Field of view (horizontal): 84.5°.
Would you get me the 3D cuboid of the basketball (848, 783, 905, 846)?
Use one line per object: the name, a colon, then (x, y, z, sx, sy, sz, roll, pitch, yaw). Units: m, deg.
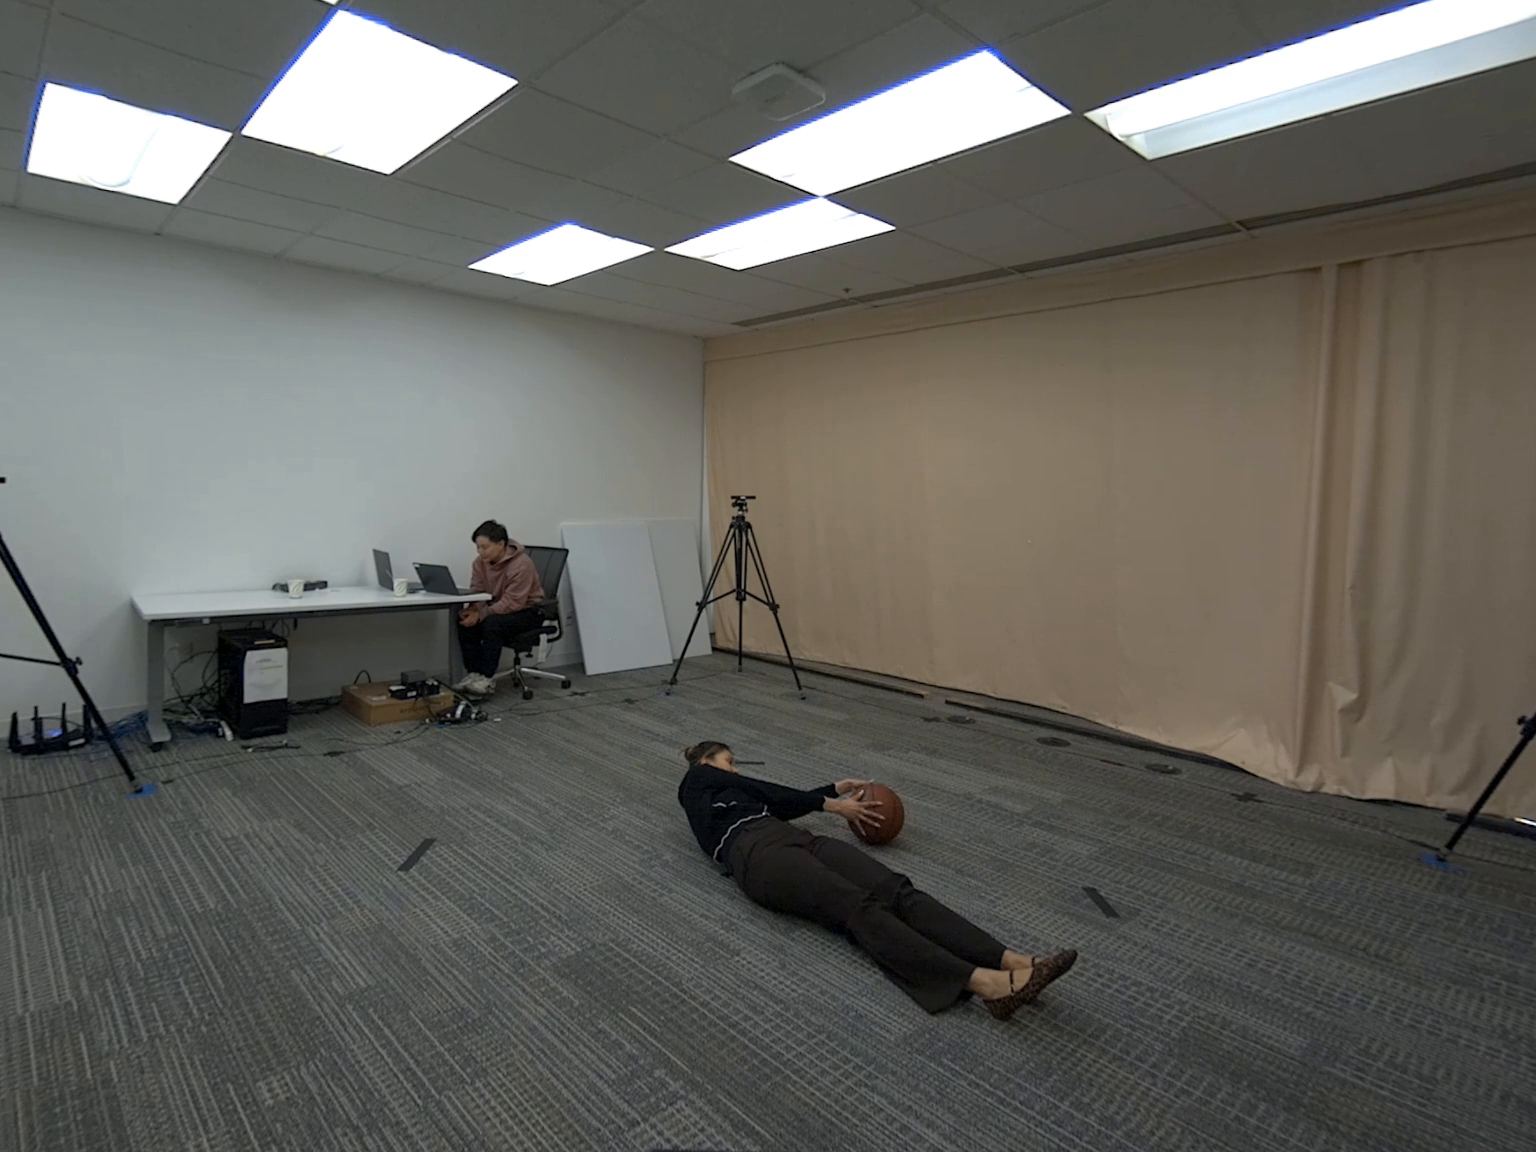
basketball: (0.427, 0.969, 3.432, 0.236, 0.235, 0.237, 1, 4, -1)
